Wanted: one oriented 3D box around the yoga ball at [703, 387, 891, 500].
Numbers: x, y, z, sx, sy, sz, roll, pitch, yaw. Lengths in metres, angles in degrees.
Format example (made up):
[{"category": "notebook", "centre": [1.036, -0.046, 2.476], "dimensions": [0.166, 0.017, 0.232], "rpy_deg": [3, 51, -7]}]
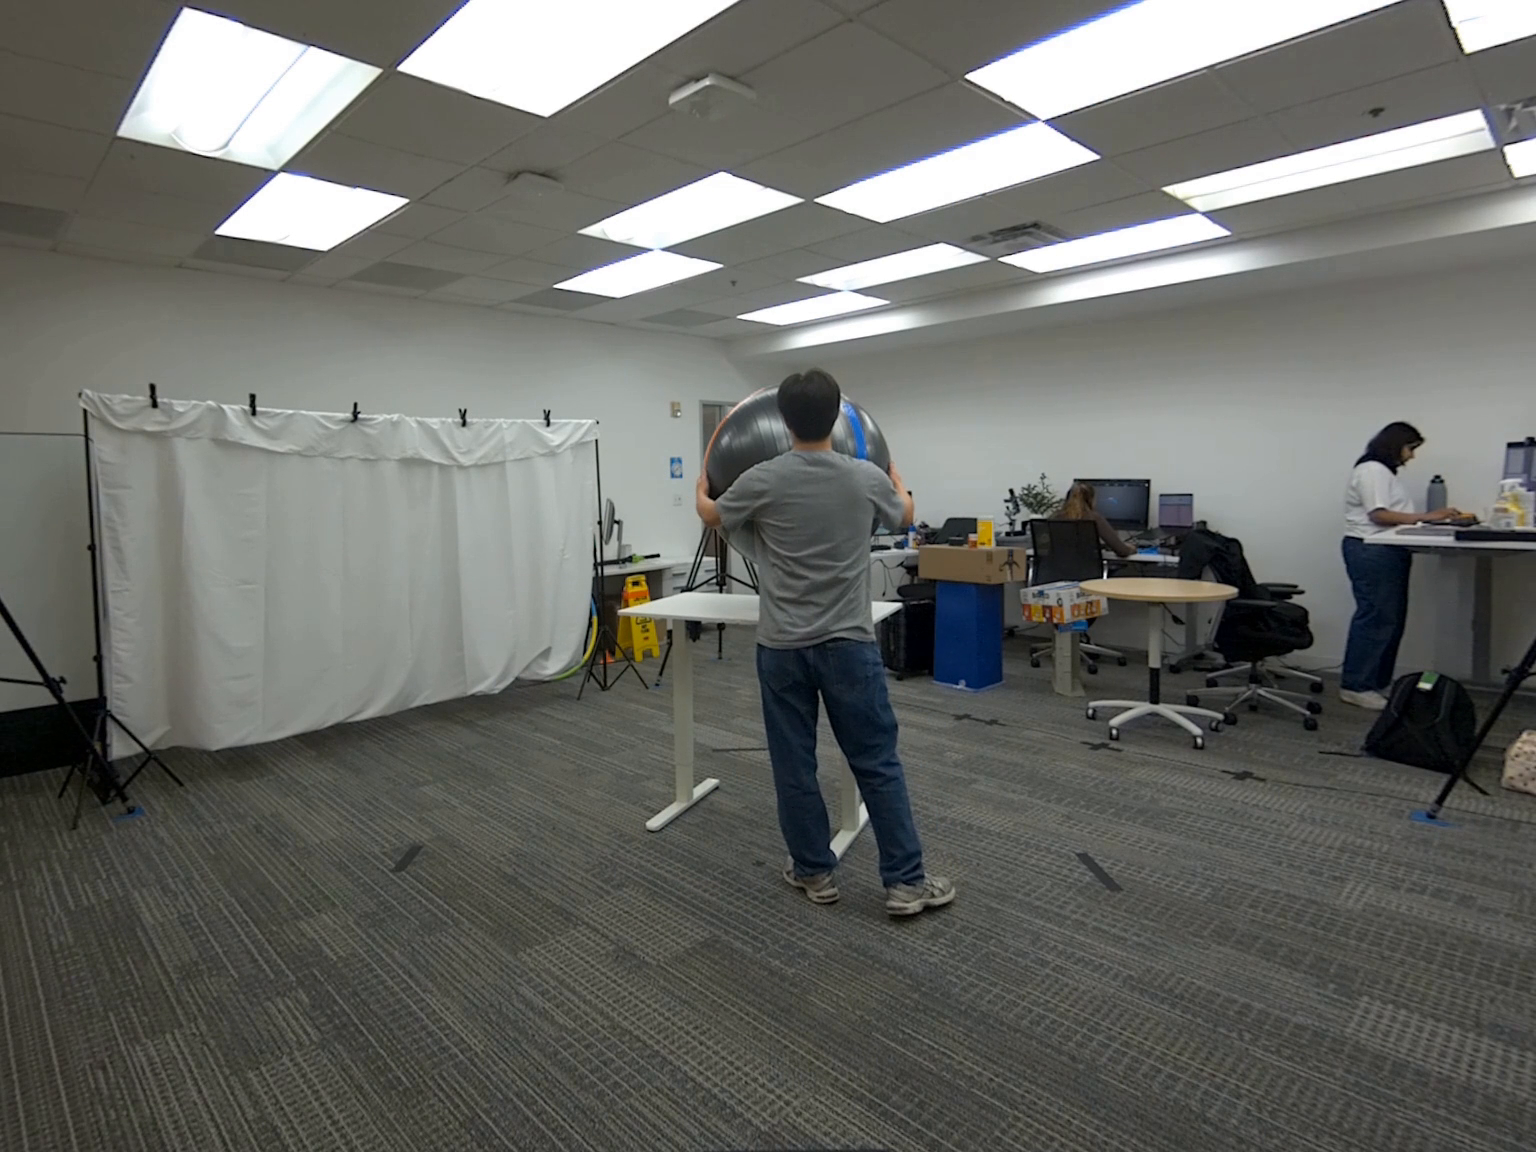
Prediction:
[{"category": "yoga ball", "centre": [0.112, -0.388, 3.431], "dimensions": [0.757, 0.755, 0.762], "rpy_deg": [-1, 5, -2]}]
